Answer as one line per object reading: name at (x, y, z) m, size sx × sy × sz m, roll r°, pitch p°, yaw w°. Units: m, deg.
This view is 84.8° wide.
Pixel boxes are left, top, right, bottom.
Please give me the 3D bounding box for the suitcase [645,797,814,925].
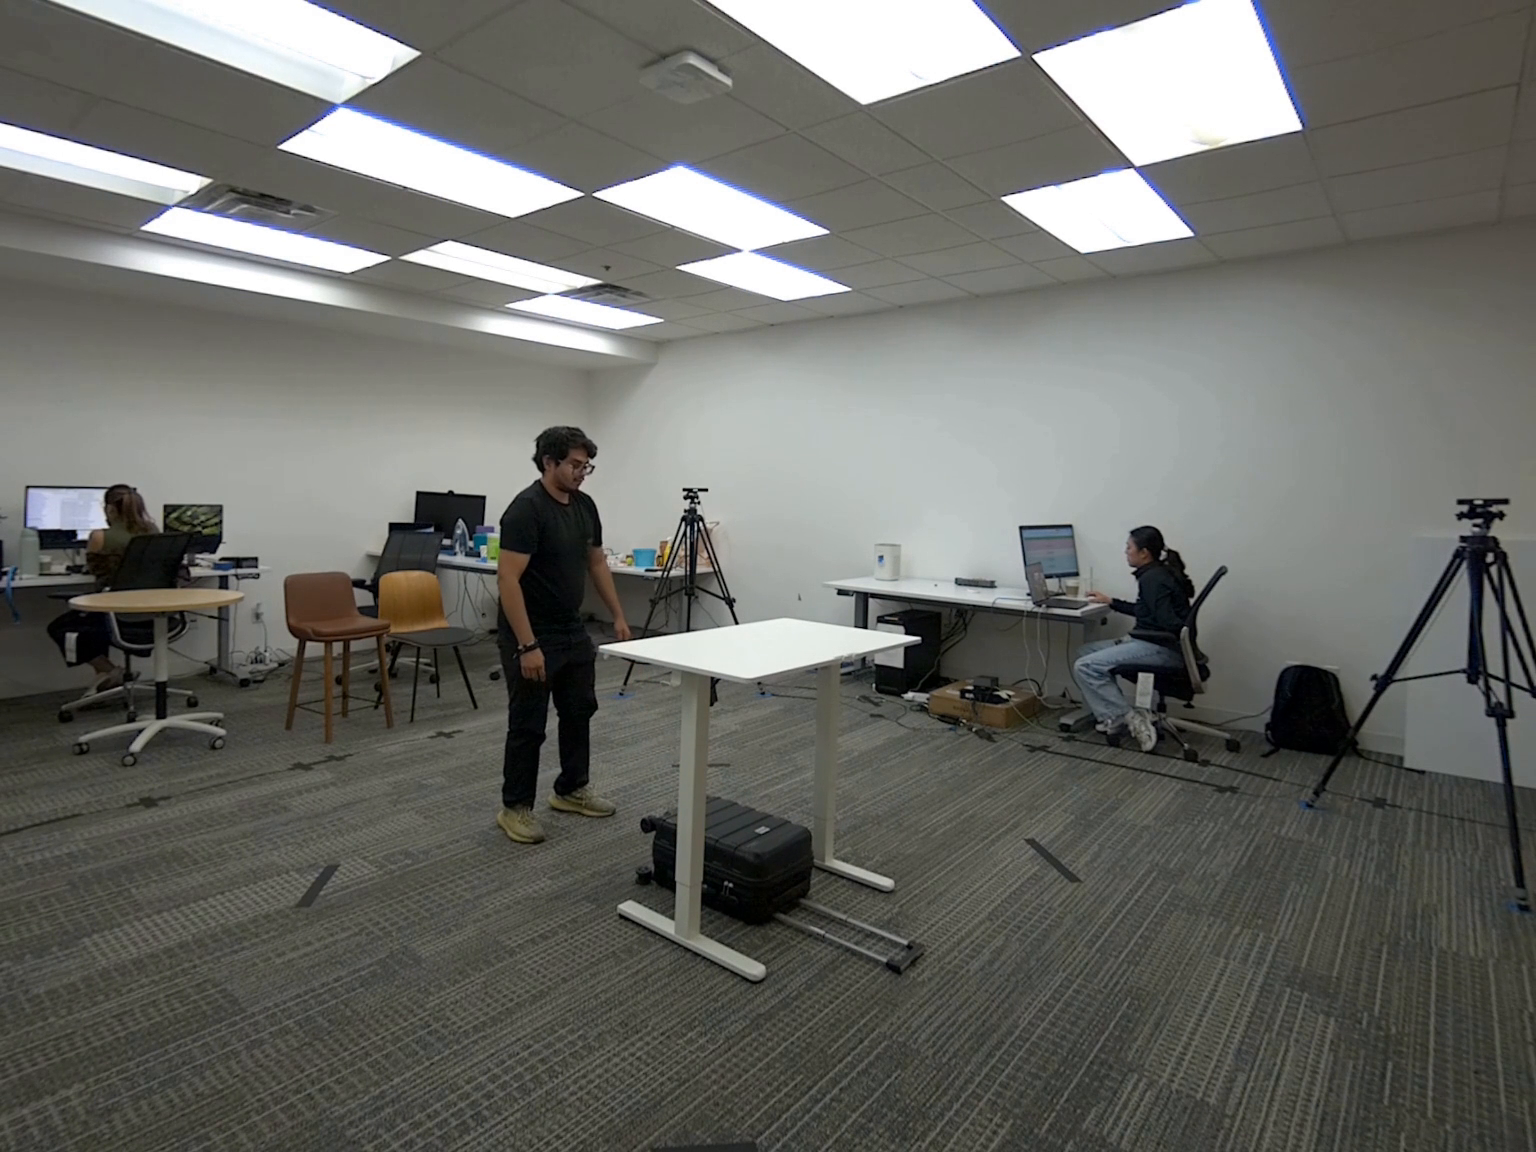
suitcase at (0.025, 0.978, 2.825) m, size 1.011 × 0.256 × 0.372 m, roll 4°, pitch 4°, yaw 38°
